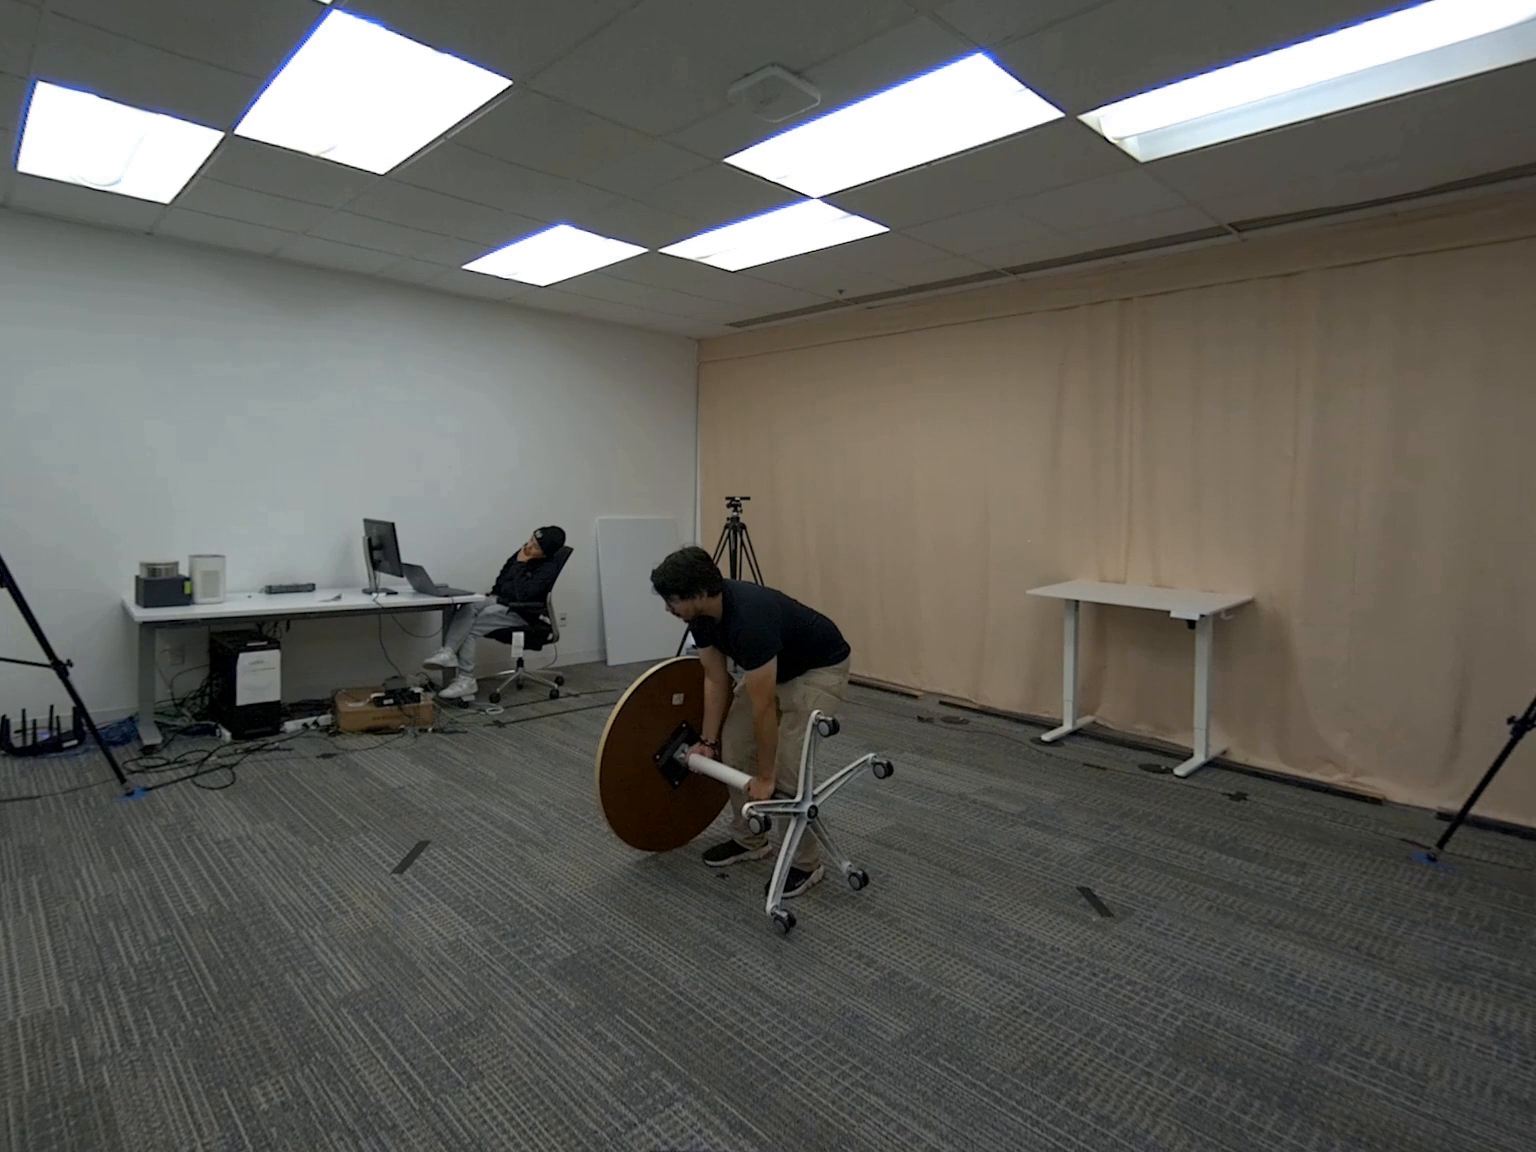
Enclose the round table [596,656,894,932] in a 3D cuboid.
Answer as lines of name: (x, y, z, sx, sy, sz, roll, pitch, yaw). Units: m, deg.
round table: (-0.086, 0.739, 3.024, 0.807, 0.782, 0.767, 8, 8, 44)
